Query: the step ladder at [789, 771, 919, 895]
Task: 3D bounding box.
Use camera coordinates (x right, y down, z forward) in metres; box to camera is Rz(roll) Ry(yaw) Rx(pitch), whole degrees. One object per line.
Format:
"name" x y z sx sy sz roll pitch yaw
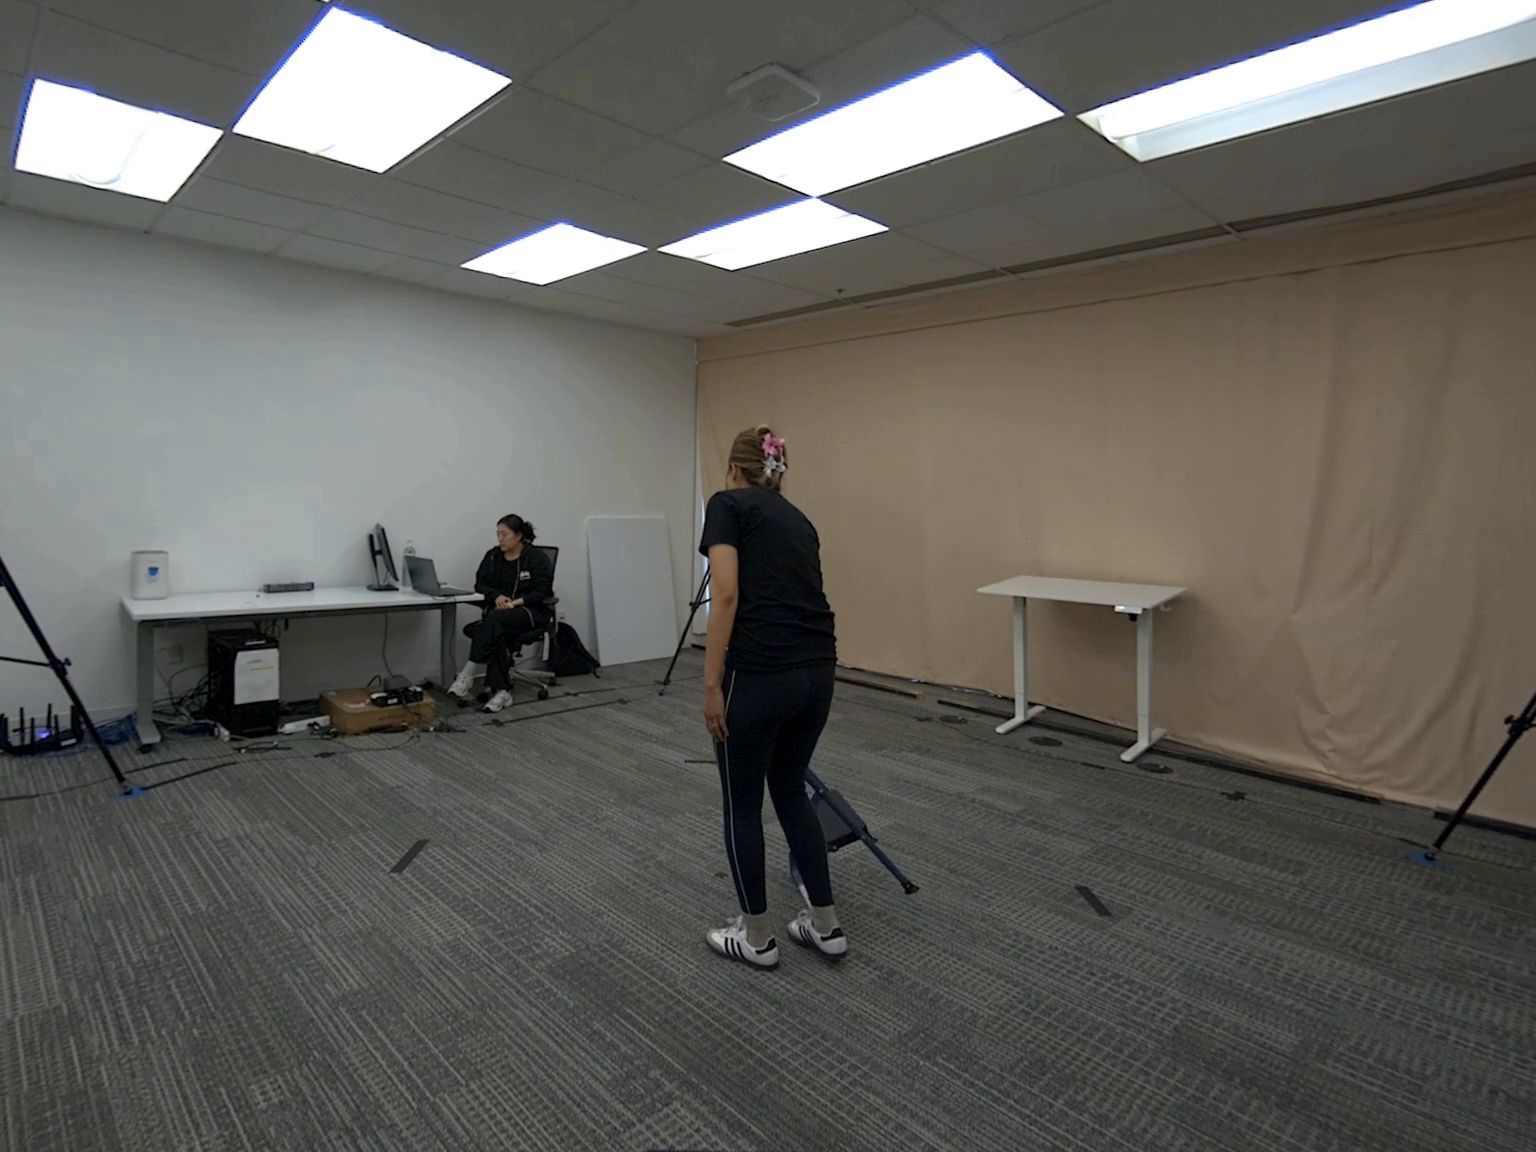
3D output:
"step ladder" 0.185 0.798 2.903 0.348 0.603 0.435 -21 6 -9
